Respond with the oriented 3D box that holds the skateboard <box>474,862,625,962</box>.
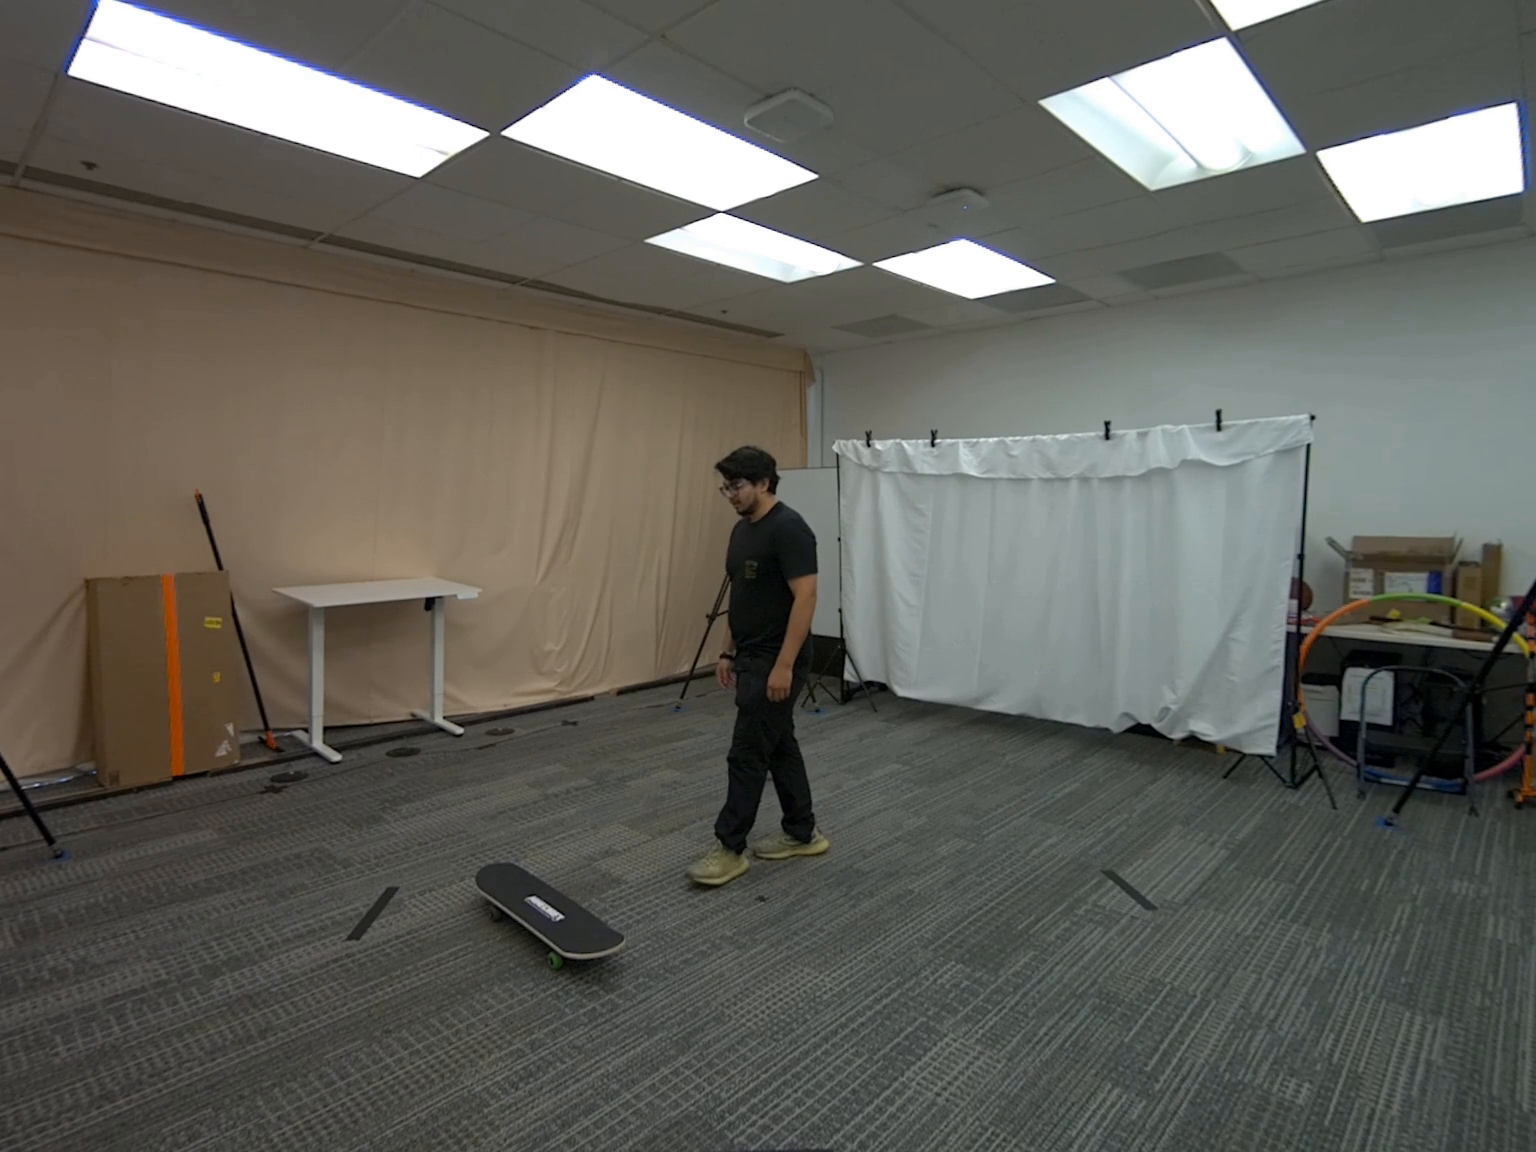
[{"bbox_3d":[-0.727,1.115,2.737,0.187,0.110,0.812,-5,6,-43],"label":"skateboard"}]
